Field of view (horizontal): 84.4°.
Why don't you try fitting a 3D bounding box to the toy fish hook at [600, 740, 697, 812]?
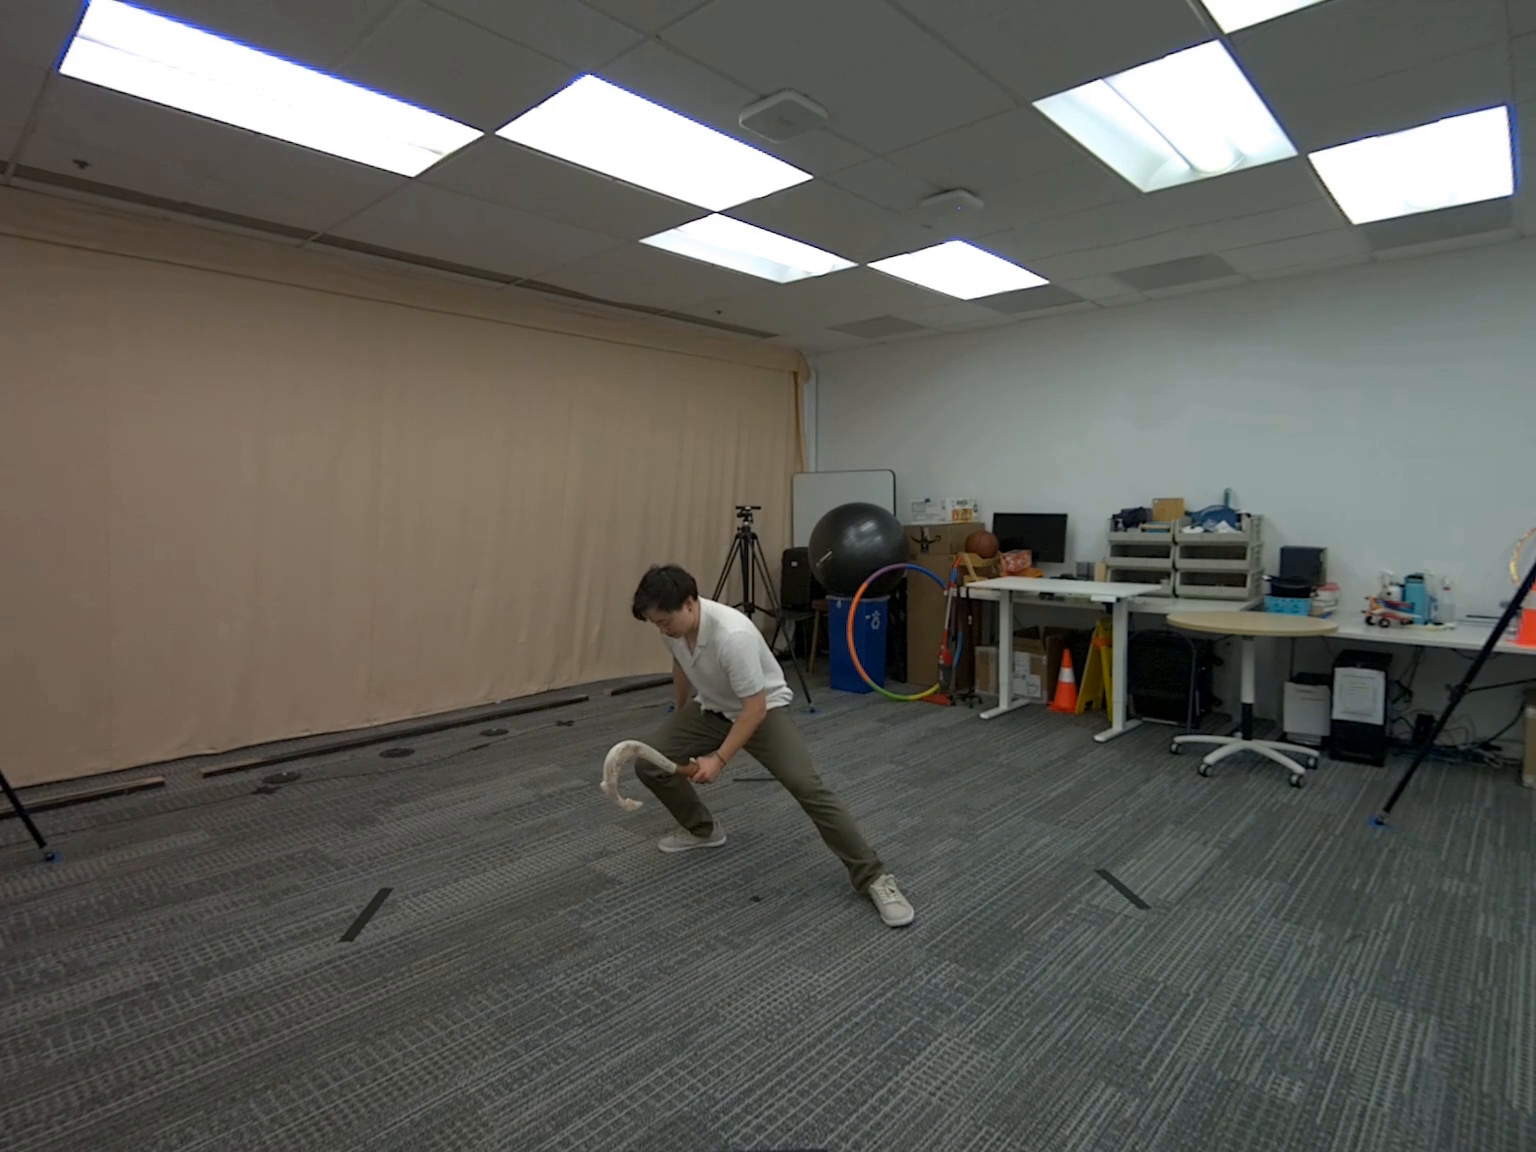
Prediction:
[{"bbox_3d":[-0.375,0.697,2.882,0.050,0.225,0.488,4,-15,44],"label":"toy fish hook"}]
